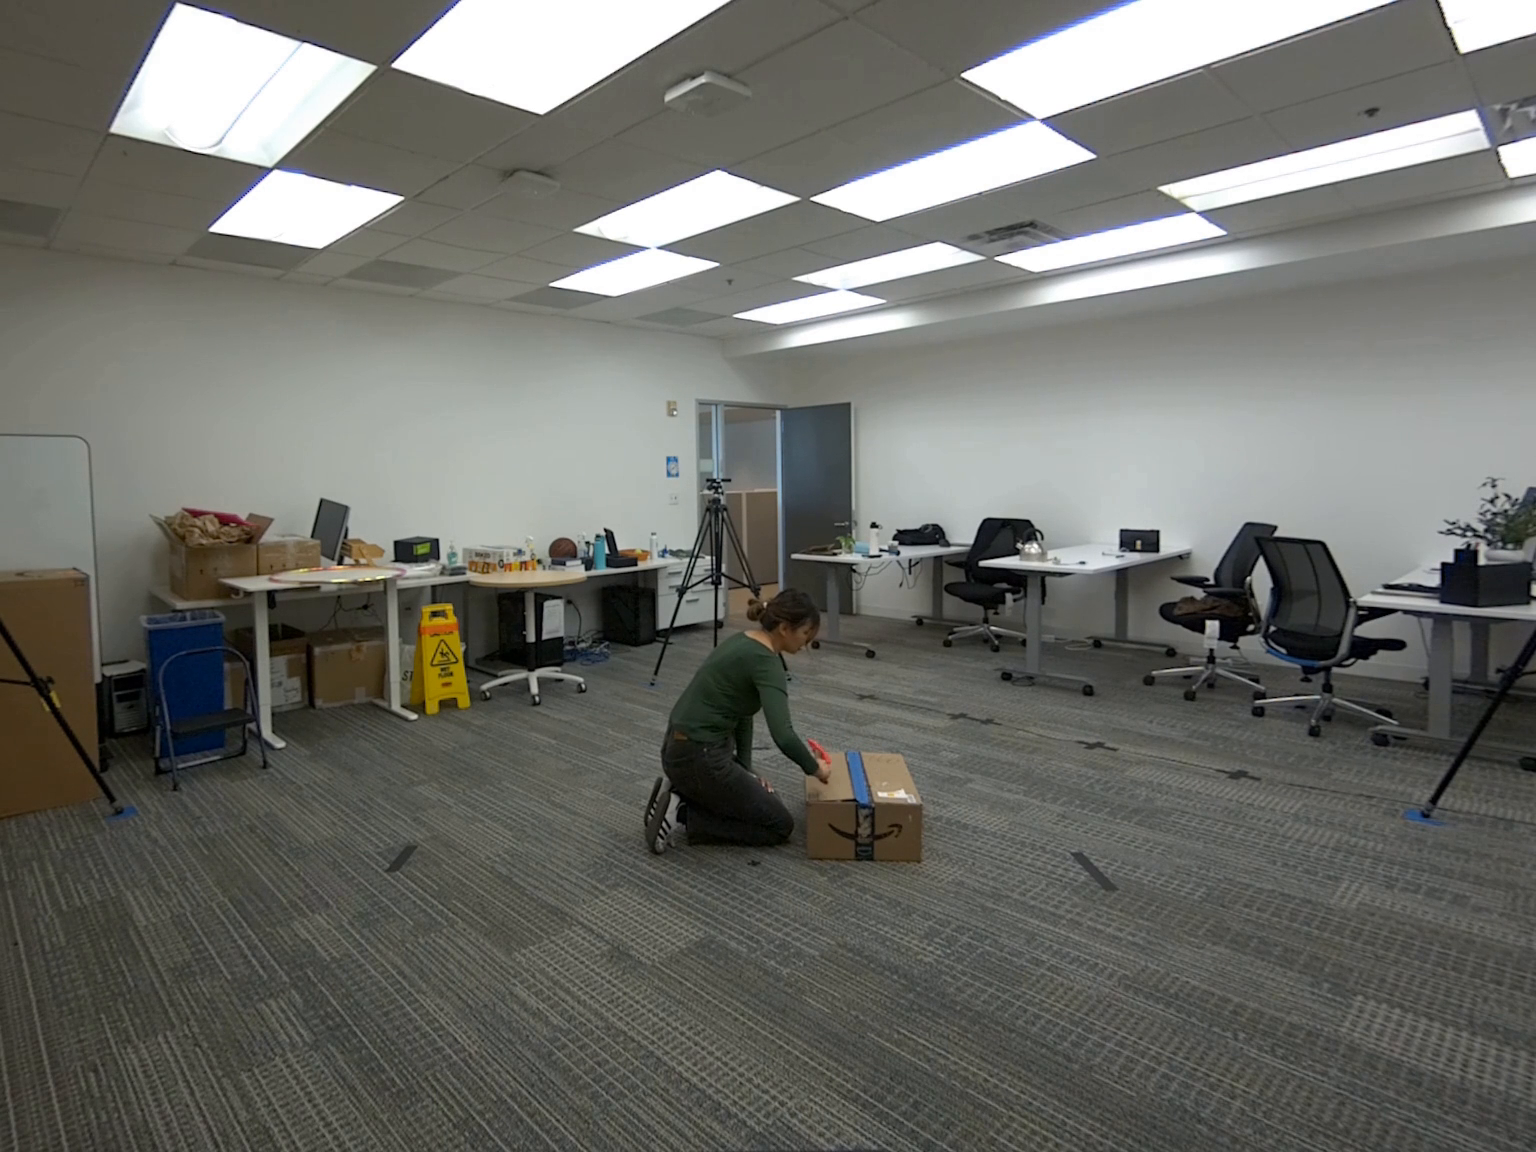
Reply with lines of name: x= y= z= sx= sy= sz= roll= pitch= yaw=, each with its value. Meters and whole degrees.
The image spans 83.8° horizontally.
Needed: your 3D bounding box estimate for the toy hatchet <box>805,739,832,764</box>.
toy hatchet: x=0.223 y=0.726 z=3.290 sx=0.029 sy=0.128 sz=0.276 roll=-42 pitch=20 yaw=12
